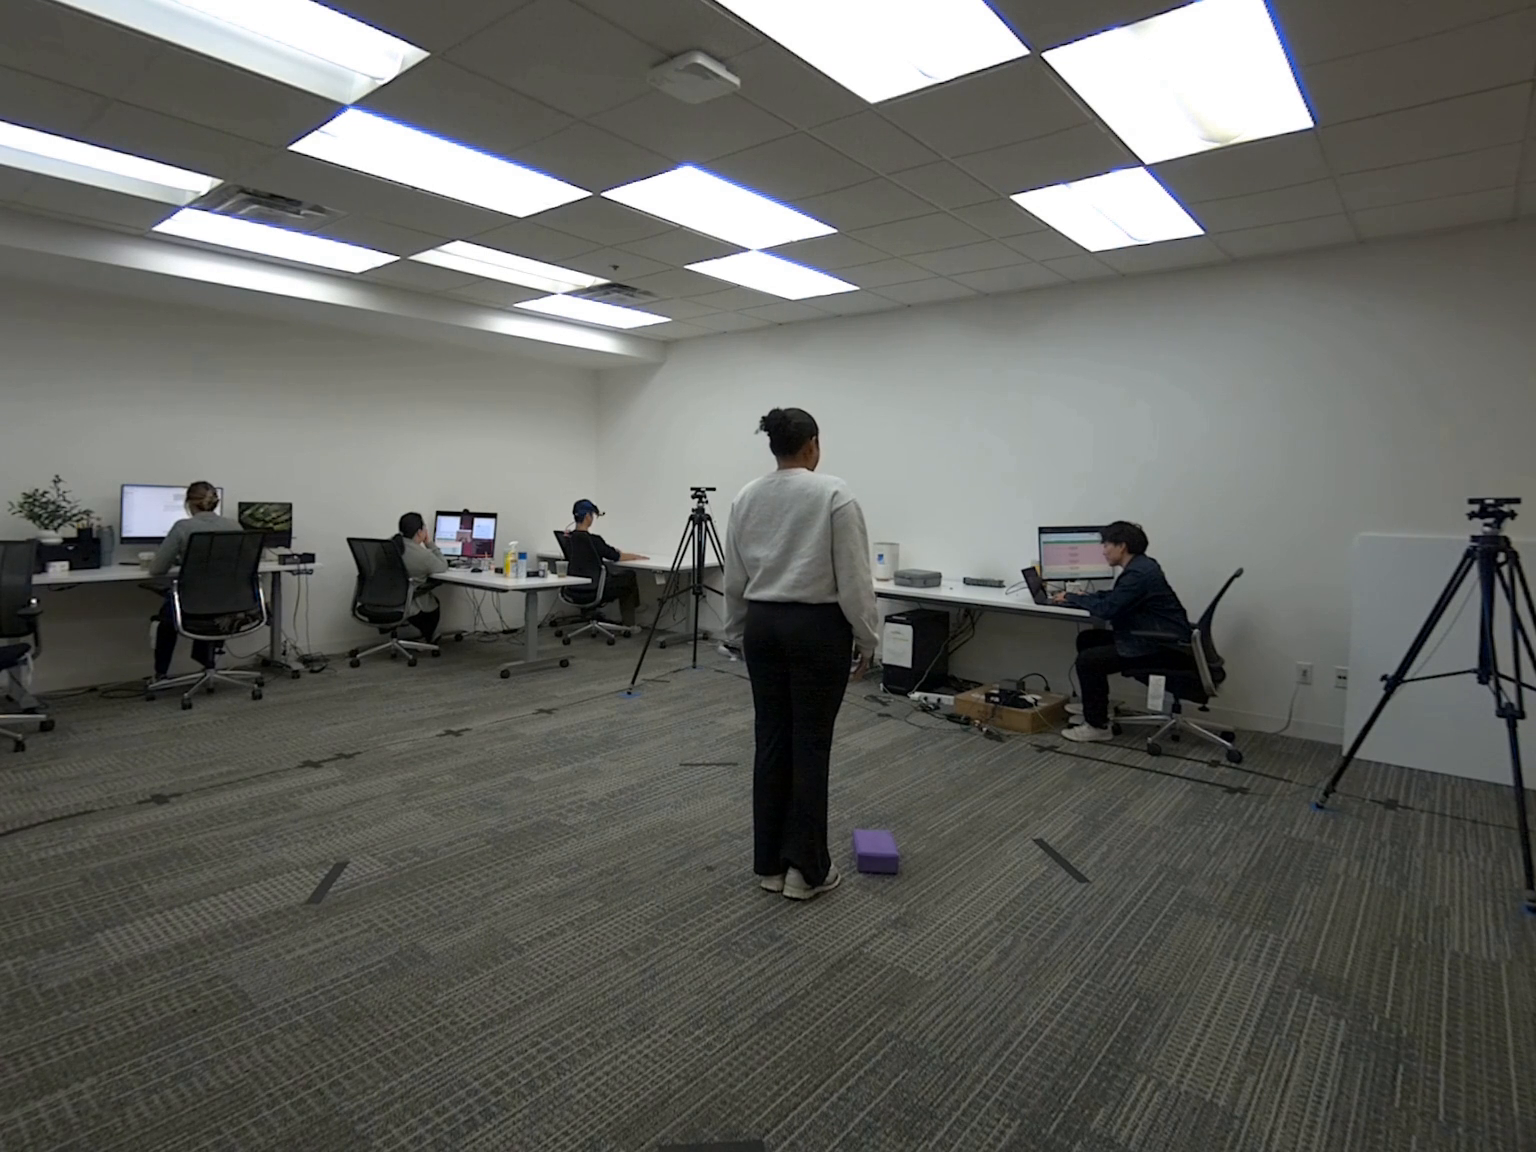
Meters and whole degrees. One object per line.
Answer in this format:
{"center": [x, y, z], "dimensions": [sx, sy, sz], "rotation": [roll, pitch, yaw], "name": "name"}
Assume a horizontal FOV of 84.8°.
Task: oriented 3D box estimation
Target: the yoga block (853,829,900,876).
{"center": [0.392, 1.028, 3.205], "dimensions": [0.150, 0.076, 0.229], "rotation": [0, 4, 4], "name": "yoga block"}
